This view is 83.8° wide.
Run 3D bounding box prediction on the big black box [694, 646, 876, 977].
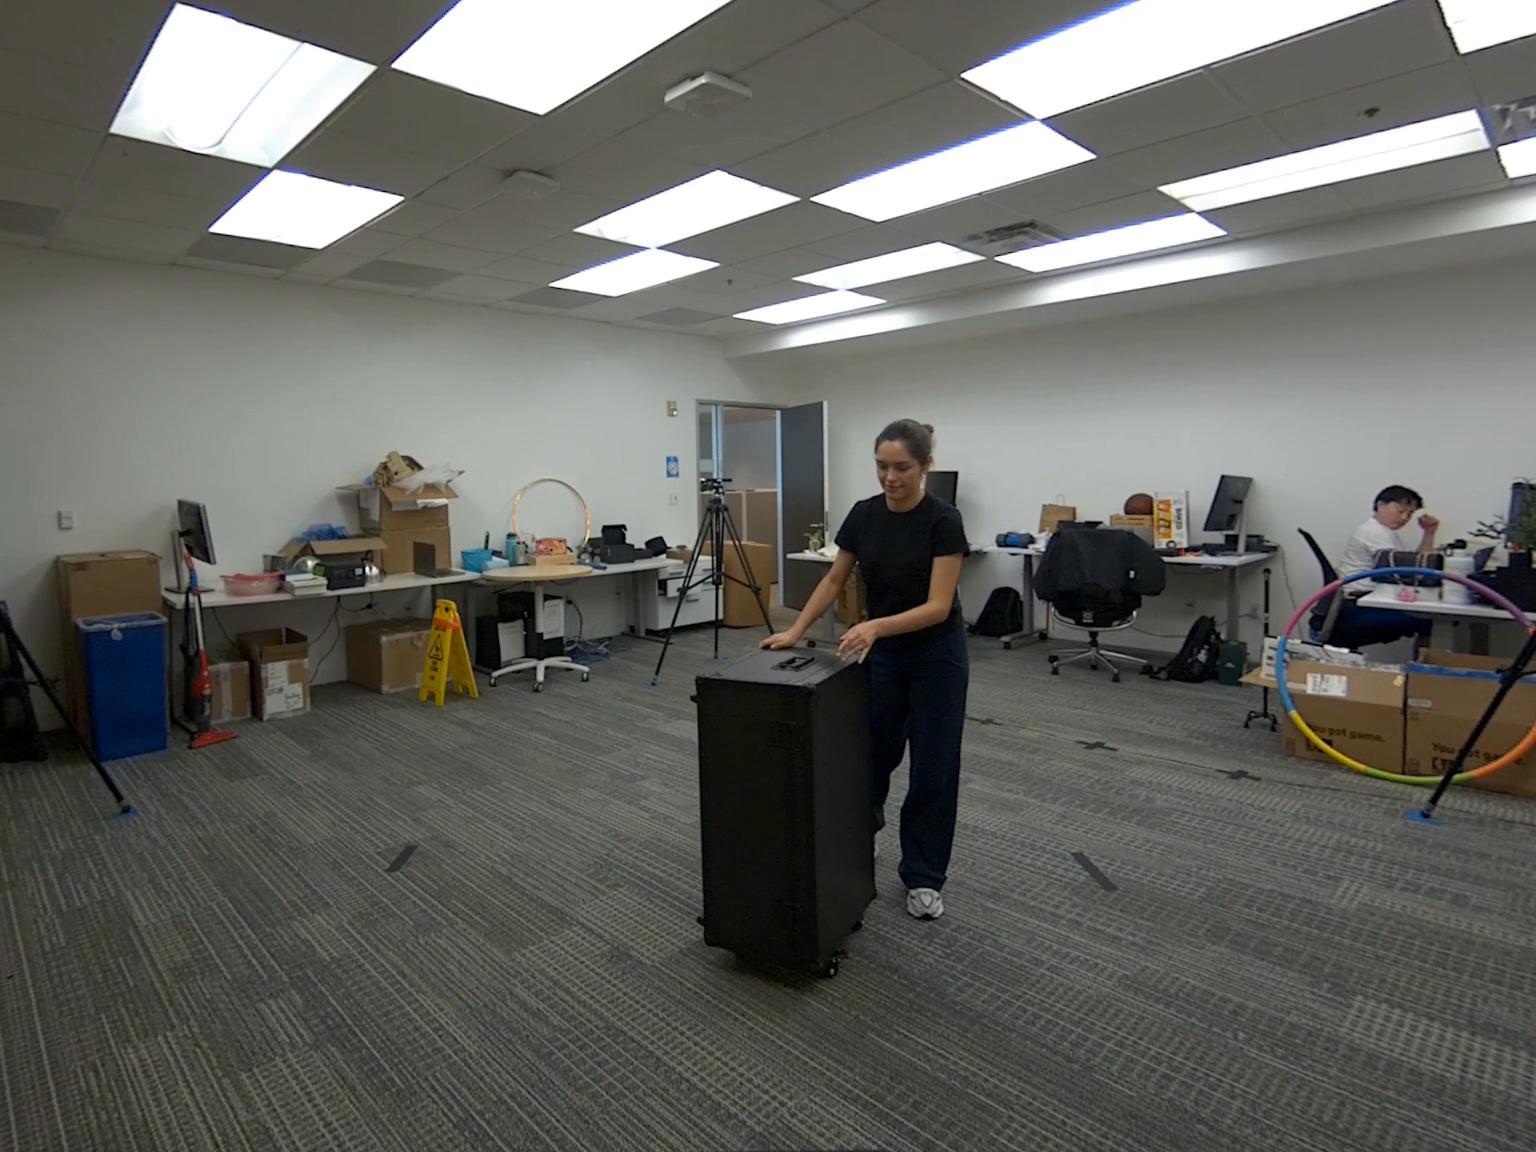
[{"bbox_3d":[0.060,0.682,2.563,0.406,0.859,0.510,-1,3,27],"label":"big black box"}]
